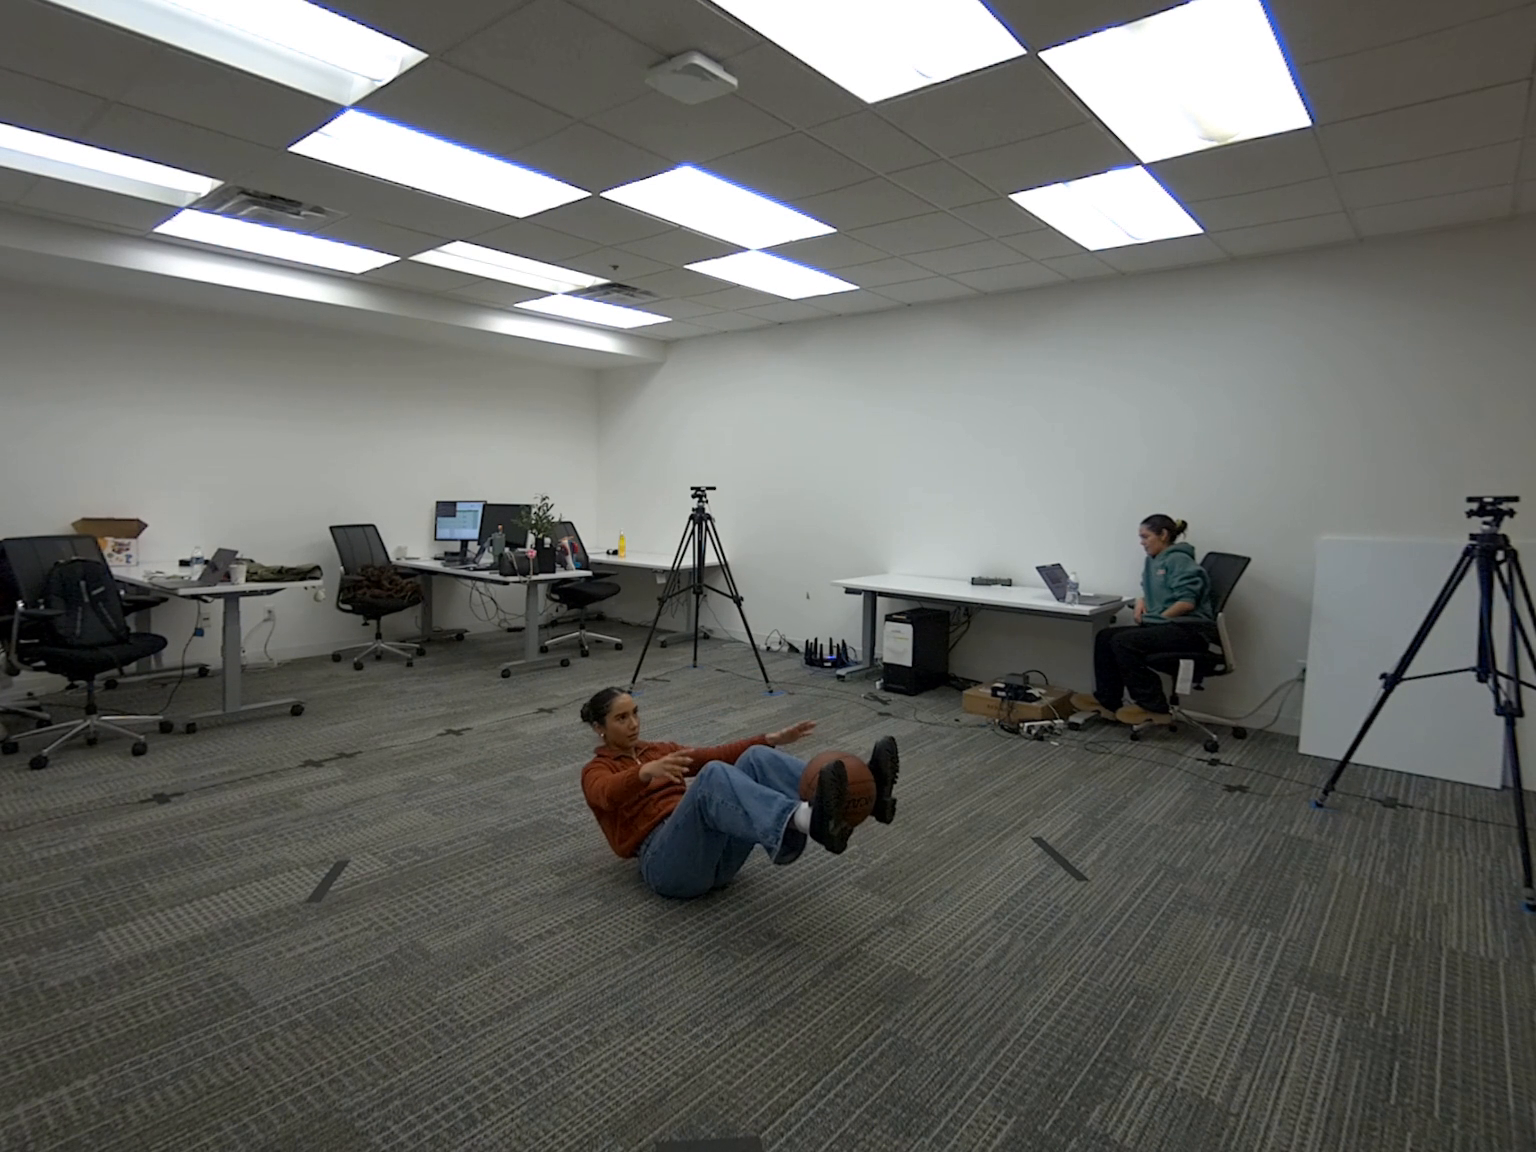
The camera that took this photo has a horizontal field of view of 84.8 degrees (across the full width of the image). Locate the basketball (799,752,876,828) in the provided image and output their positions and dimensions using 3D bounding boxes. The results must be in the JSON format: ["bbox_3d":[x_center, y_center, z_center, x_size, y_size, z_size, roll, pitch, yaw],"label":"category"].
[{"bbox_3d":[0.209,0.655,2.621,0.236,0.235,0.237,-3,3,-2],"label":"basketball"}]
